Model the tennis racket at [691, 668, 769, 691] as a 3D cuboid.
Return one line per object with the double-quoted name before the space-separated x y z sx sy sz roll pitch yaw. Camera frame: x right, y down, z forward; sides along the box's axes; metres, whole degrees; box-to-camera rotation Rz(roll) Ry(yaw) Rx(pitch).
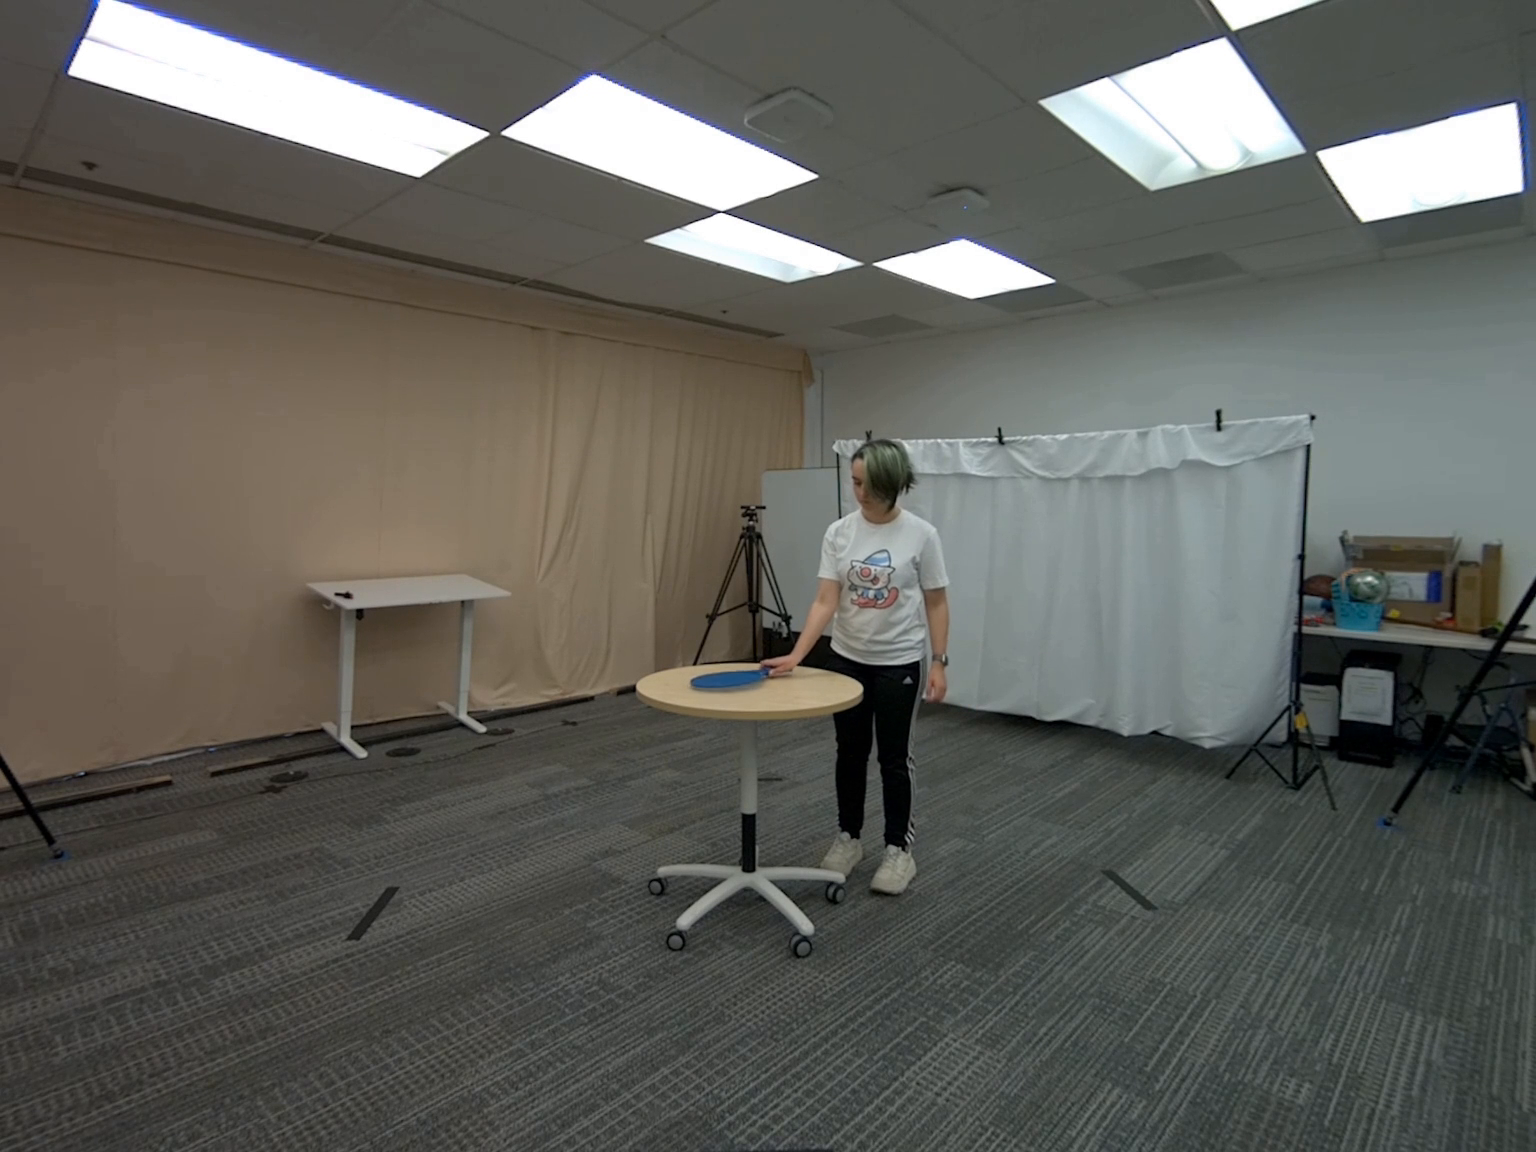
"tennis racket" -0.076 0.339 2.873 0.420 0.032 0.220 -4 5 -36
